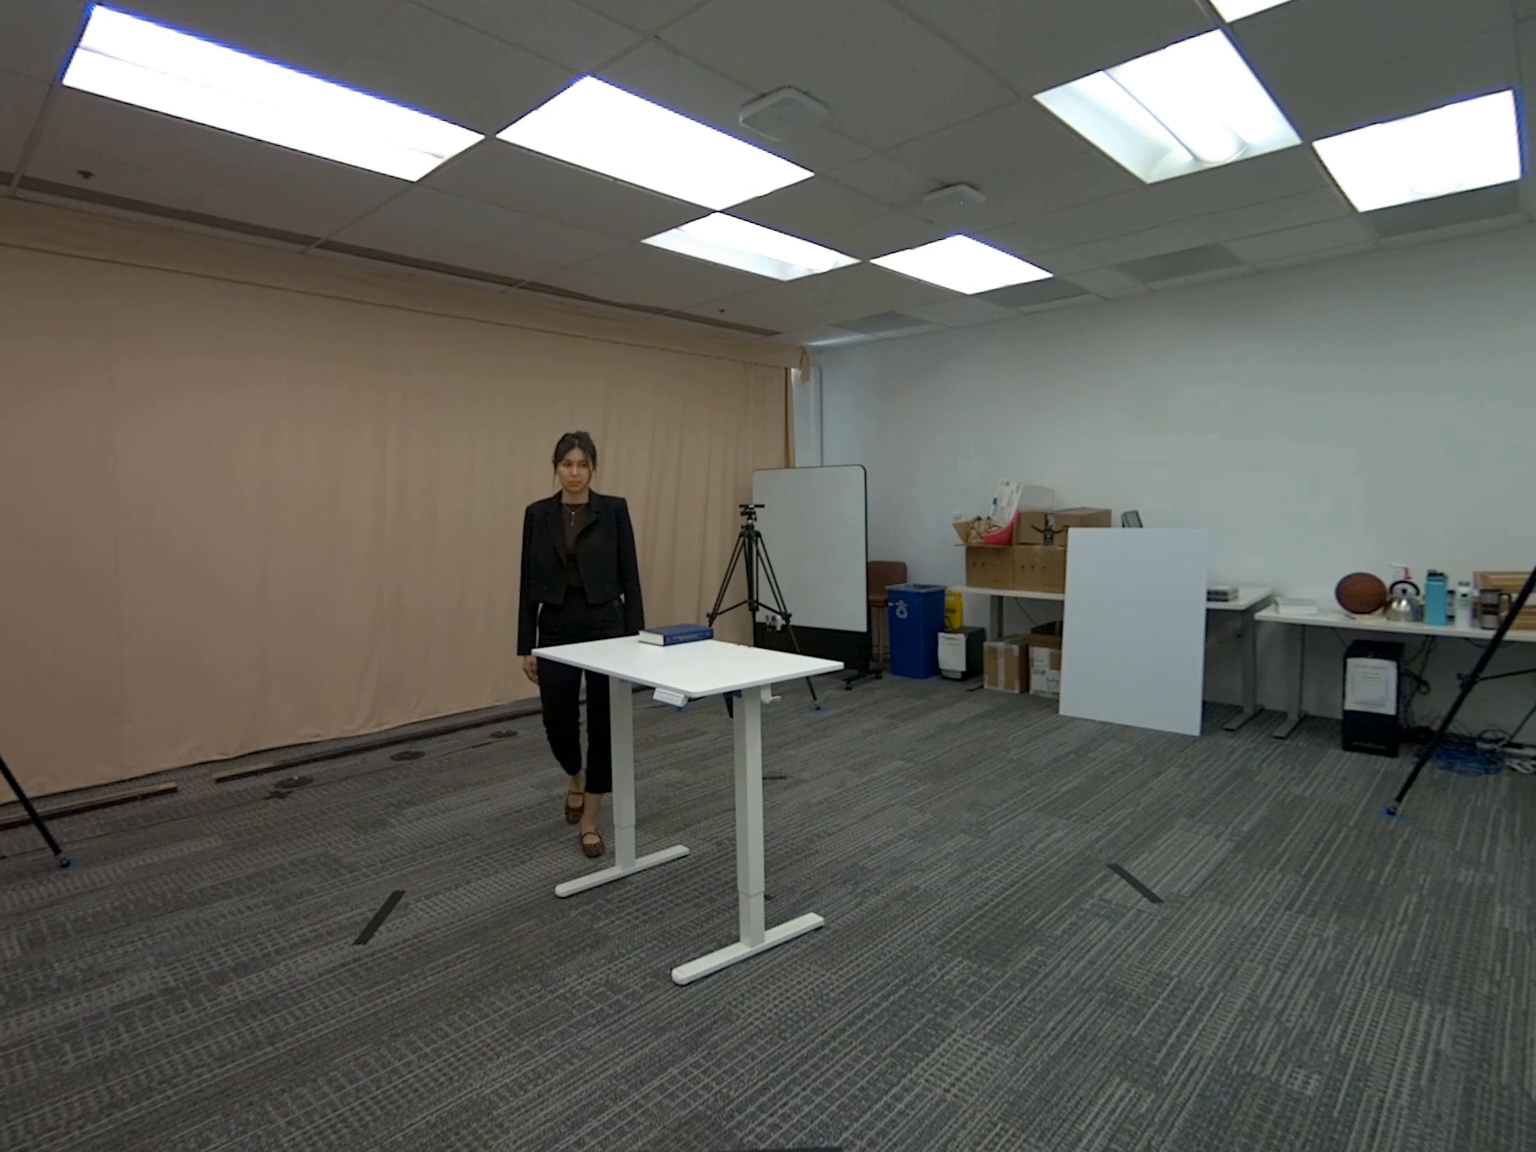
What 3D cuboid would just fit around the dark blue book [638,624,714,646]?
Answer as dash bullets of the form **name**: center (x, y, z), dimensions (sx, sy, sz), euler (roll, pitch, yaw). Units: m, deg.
- **dark blue book**: center (-0.349, 0.224, 3.224), dimensions (0.238, 0.045, 0.169), euler (-5, 6, -42)
